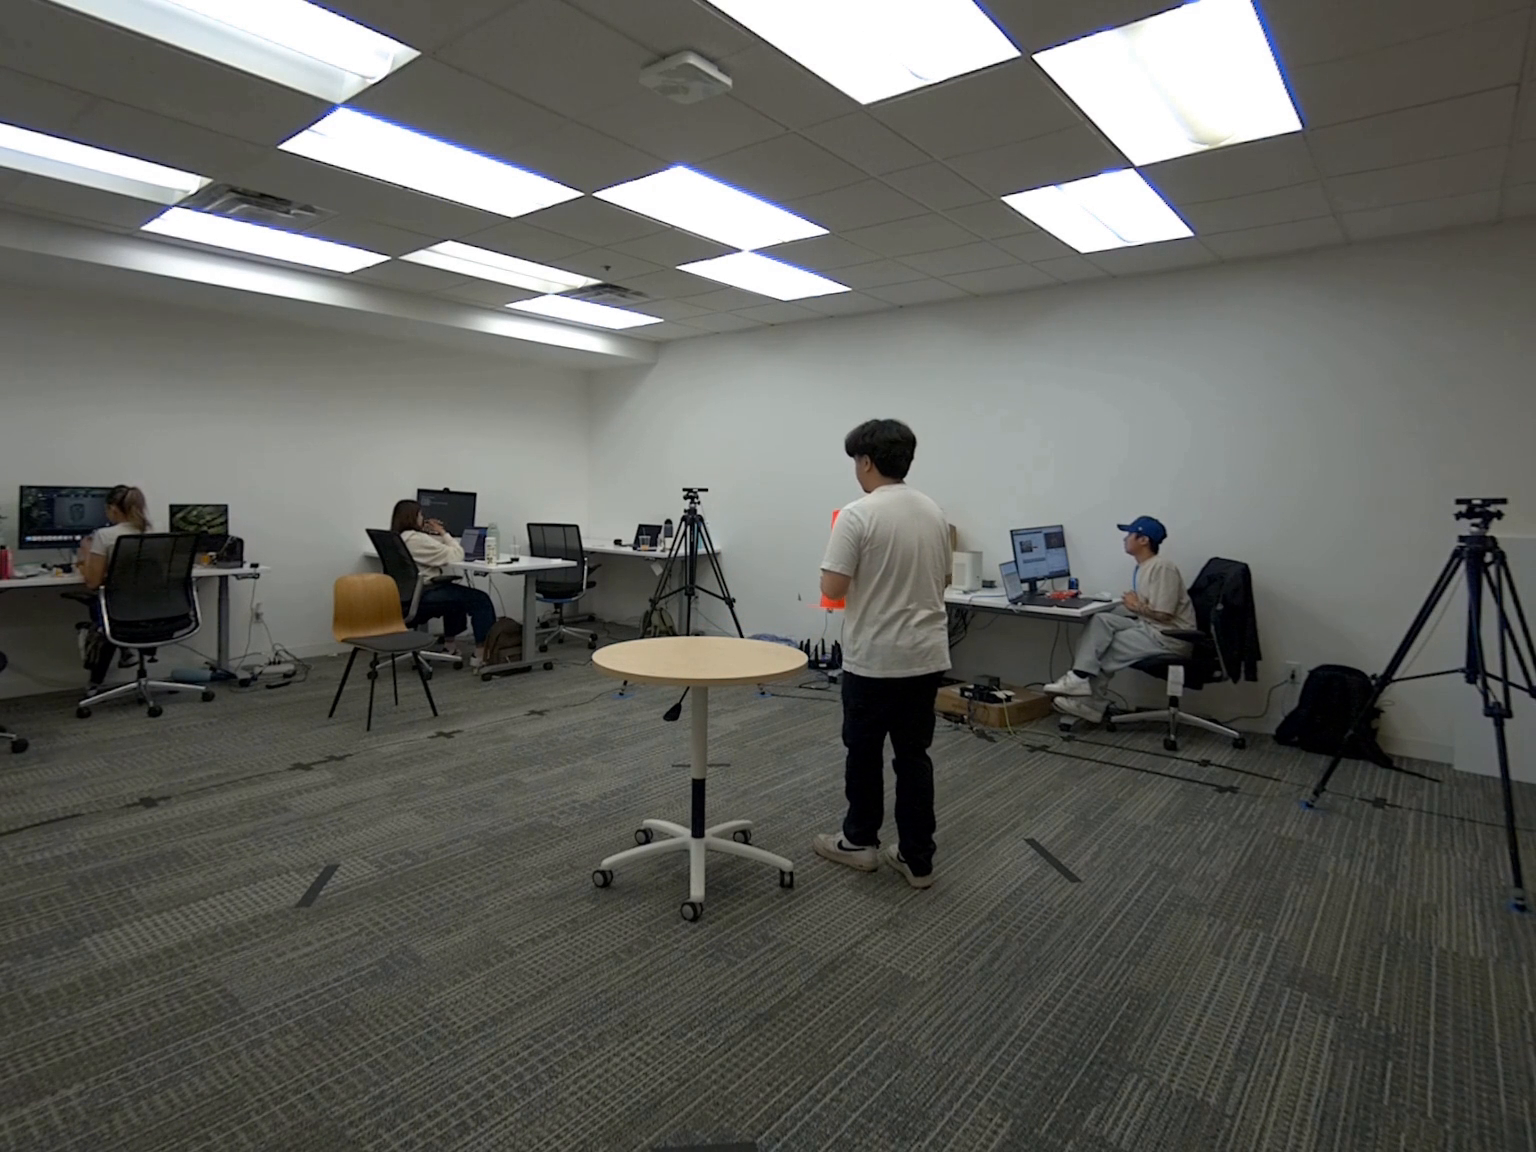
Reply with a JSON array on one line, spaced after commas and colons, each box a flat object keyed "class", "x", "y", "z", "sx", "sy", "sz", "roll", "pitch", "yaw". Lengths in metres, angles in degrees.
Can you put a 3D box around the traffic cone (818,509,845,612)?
[{"class": "traffic cone", "x": 0.271, "y": -0.073, "z": 3.353, "sx": 0.209, "sy": 0.385, "sz": 0.198, "roll": -5, "pitch": -4, "yaw": 38}]
